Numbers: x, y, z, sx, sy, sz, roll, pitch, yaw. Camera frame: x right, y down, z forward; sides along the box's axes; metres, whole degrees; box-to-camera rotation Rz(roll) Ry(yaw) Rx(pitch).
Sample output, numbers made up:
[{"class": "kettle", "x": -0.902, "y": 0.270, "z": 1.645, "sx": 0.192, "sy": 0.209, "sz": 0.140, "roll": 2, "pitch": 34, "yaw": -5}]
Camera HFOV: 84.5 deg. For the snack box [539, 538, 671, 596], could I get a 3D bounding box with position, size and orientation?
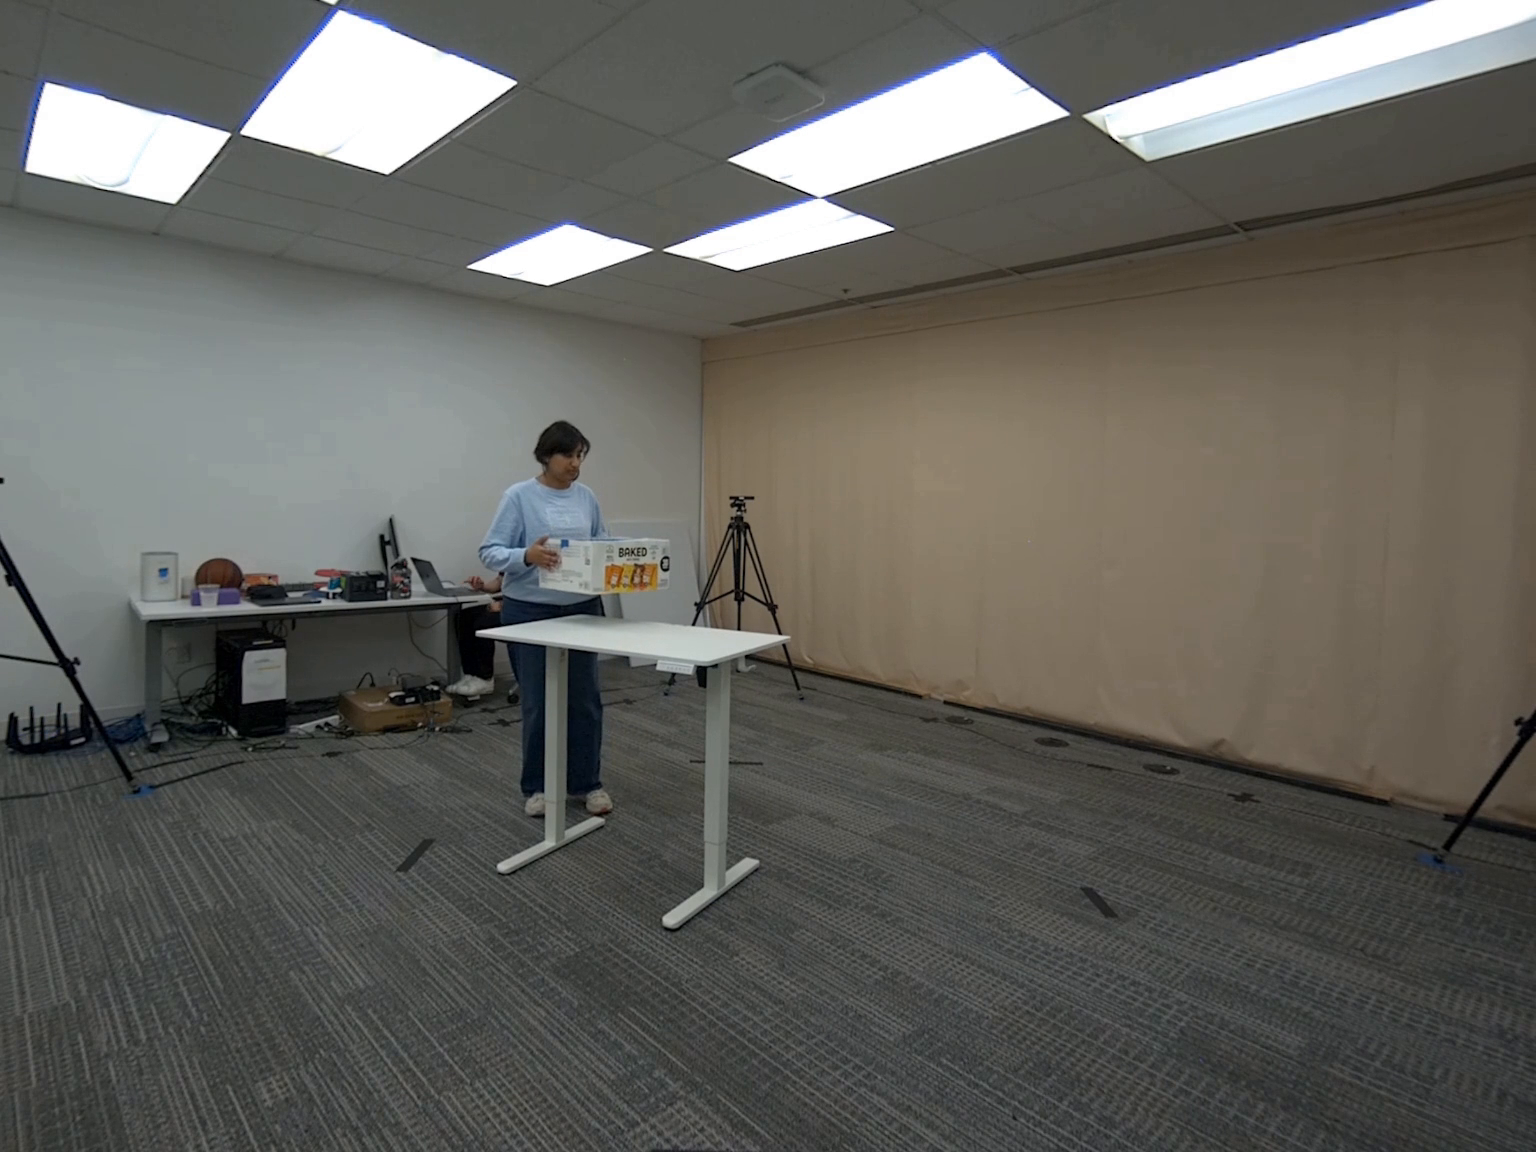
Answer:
[{"class": "snack box", "x": -0.665, "y": -0.051, "z": 3.415, "sx": 0.349, "sy": 0.205, "sz": 0.396, "roll": 5, "pitch": 5, "yaw": 40}]
